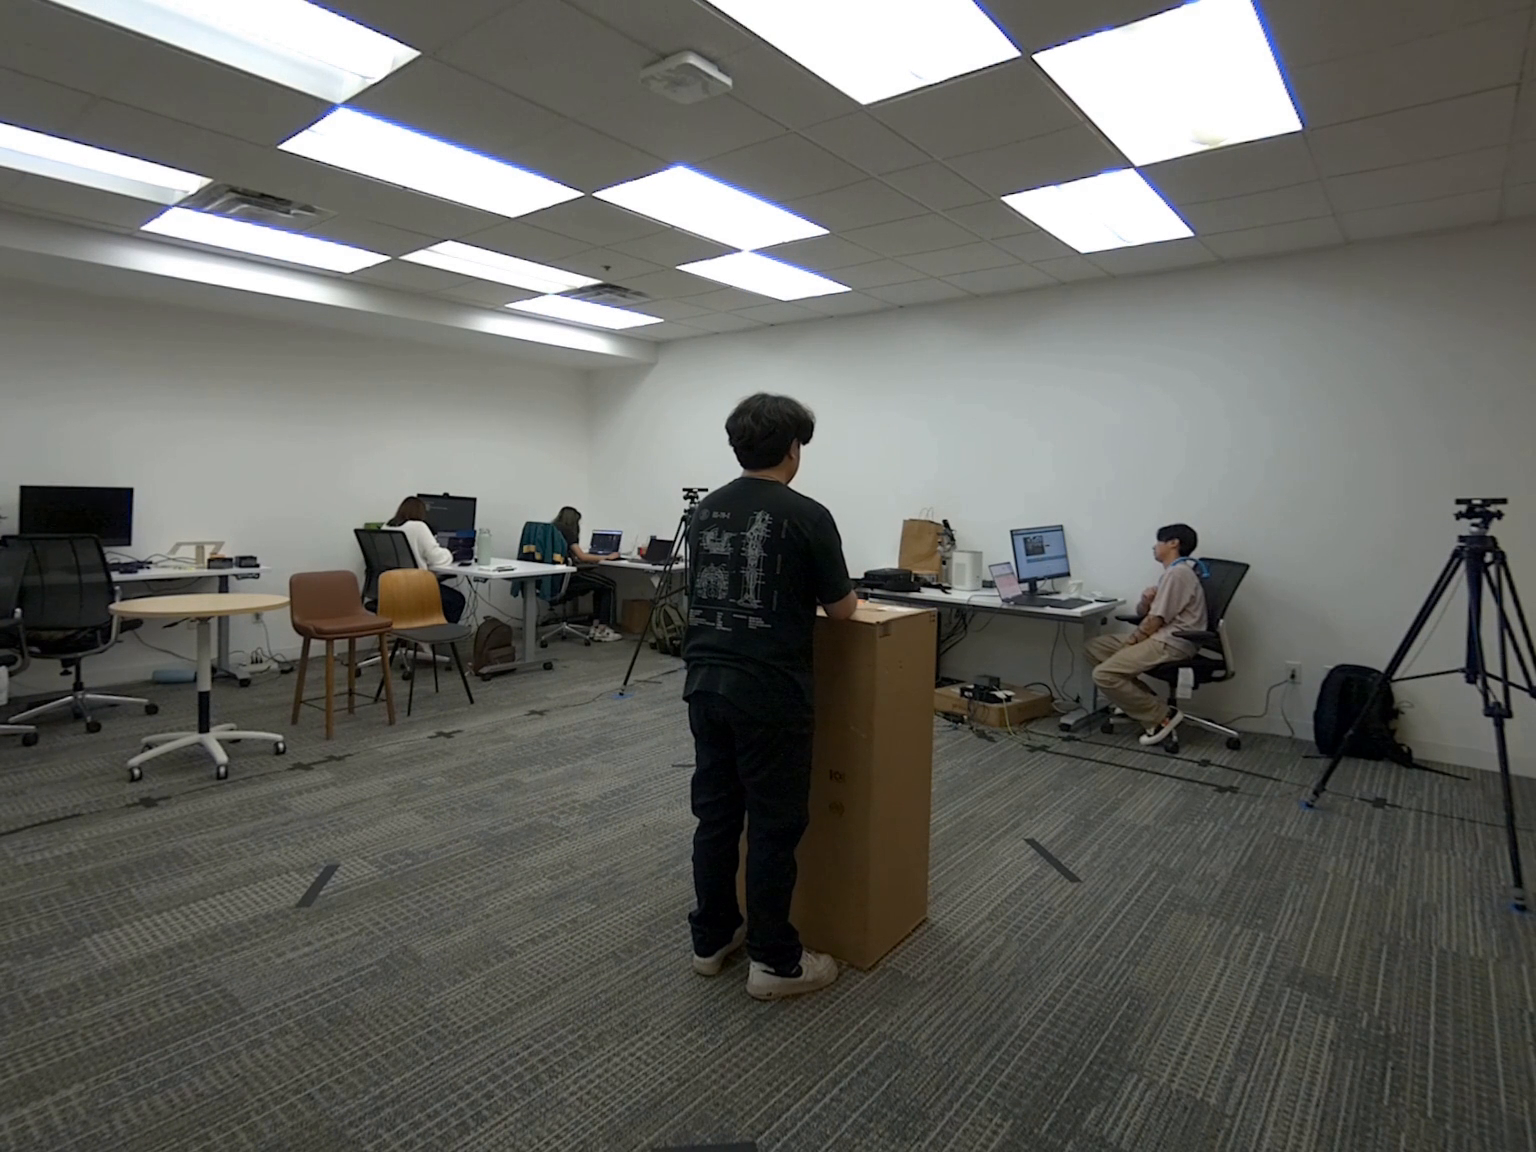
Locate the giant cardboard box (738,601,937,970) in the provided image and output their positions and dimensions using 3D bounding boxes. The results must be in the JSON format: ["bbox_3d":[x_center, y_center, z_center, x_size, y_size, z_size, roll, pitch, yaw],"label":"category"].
[{"bbox_3d":[0.179,0.598,2.783,0.603,1.025,0.433,4,3,37],"label":"giant cardboard box"}]
